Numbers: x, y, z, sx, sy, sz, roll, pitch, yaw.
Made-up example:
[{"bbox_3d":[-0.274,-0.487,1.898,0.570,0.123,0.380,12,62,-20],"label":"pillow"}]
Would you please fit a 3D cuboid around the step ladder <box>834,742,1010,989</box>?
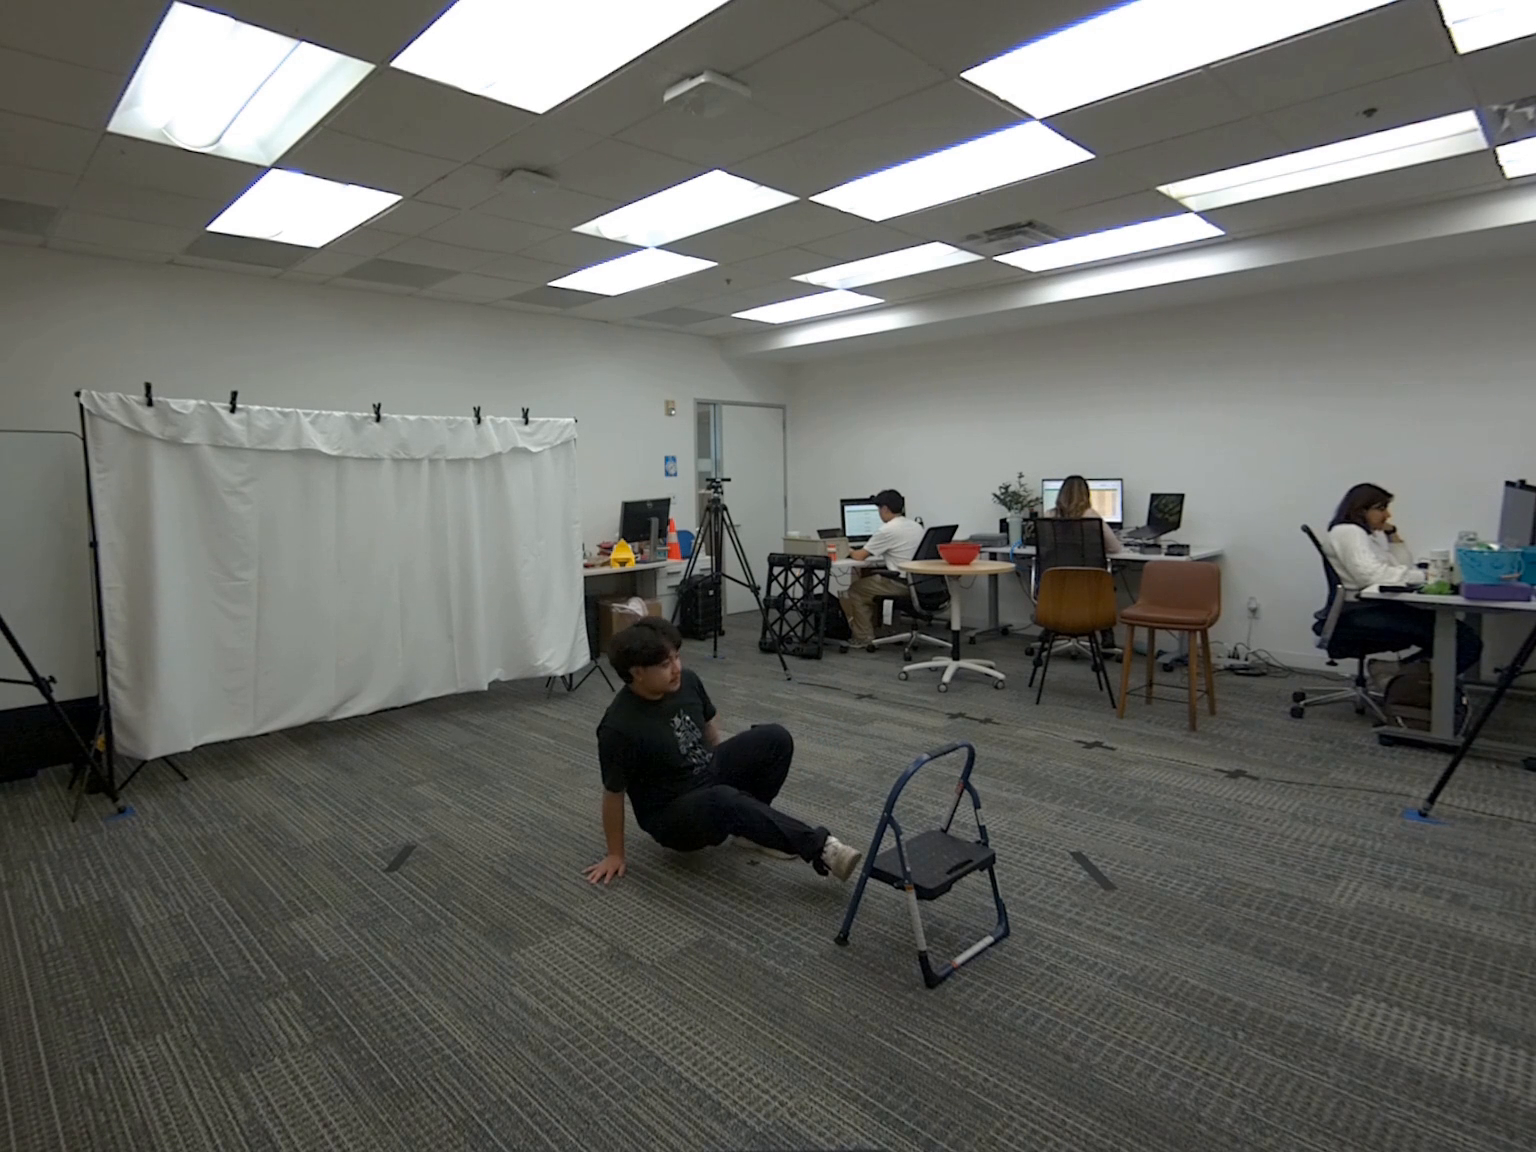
[{"bbox_3d":[0.470,0.795,2.560,0.419,0.604,0.360,-6,6,-44],"label":"step ladder"}]
